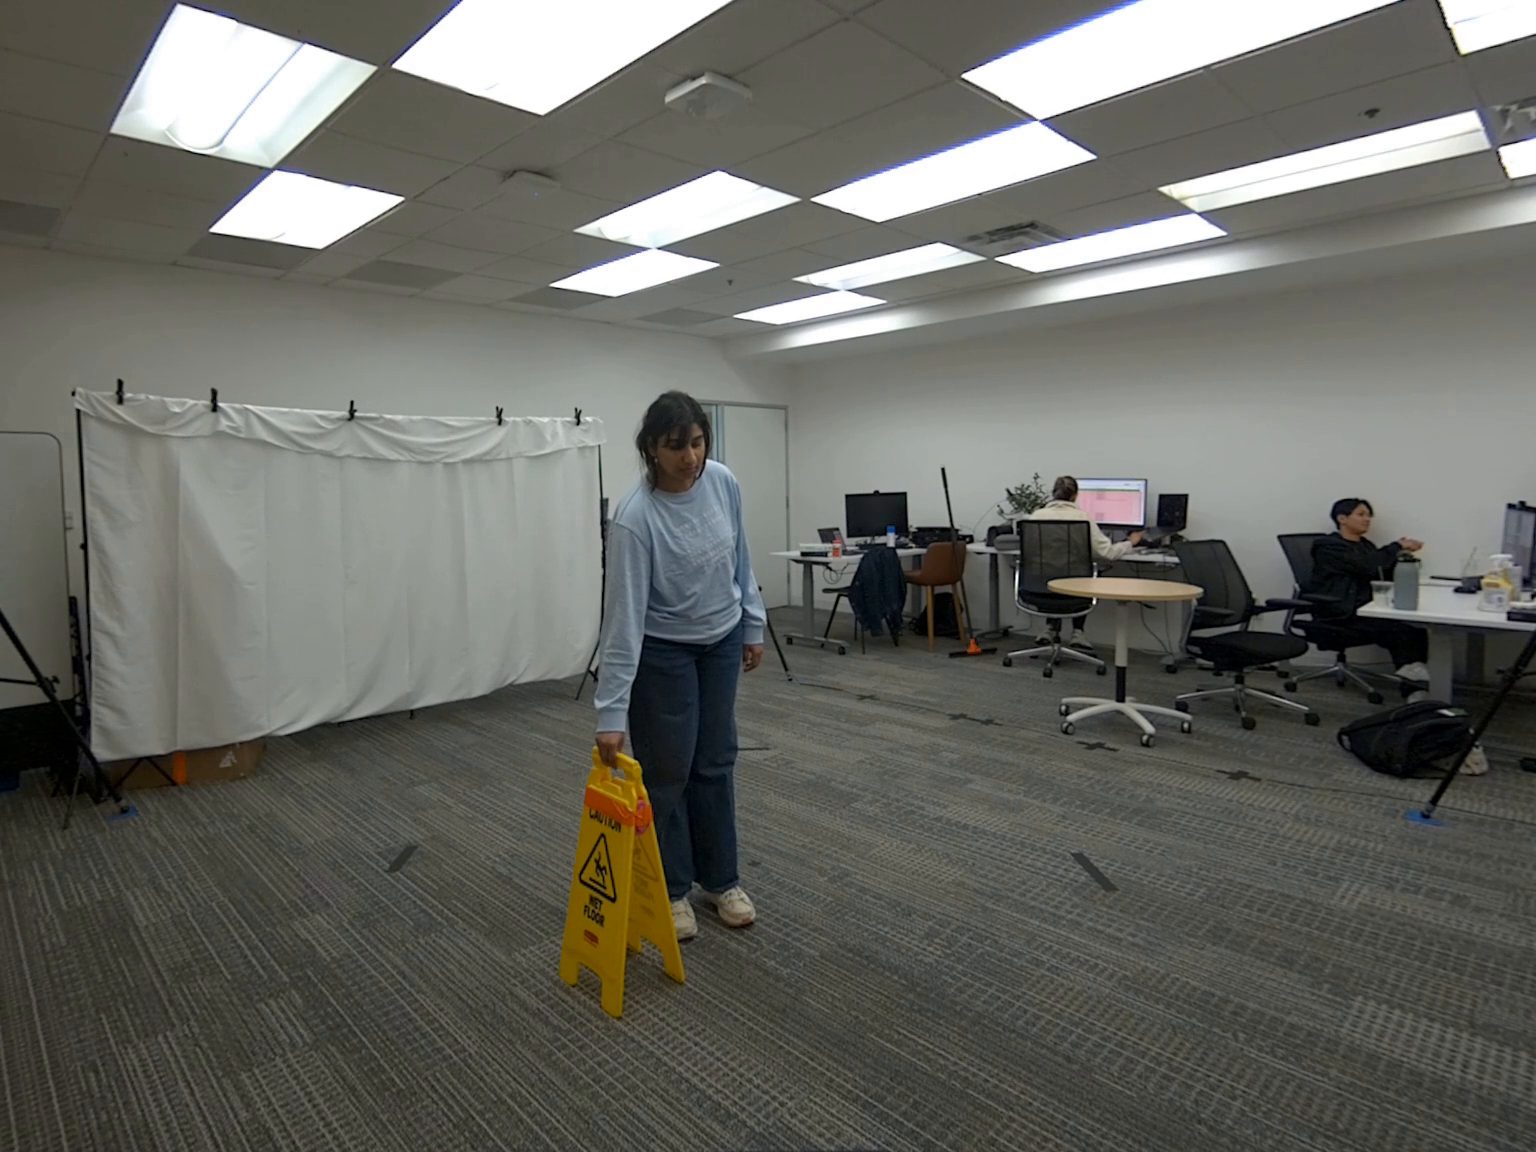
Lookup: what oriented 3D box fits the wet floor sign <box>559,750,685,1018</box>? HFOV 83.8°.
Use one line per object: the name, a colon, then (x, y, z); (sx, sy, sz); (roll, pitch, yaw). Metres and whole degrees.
wet floor sign: (-0.410, 0.814, 2.382); (0.282, 0.643, 0.291); (-6, 6, -44)
